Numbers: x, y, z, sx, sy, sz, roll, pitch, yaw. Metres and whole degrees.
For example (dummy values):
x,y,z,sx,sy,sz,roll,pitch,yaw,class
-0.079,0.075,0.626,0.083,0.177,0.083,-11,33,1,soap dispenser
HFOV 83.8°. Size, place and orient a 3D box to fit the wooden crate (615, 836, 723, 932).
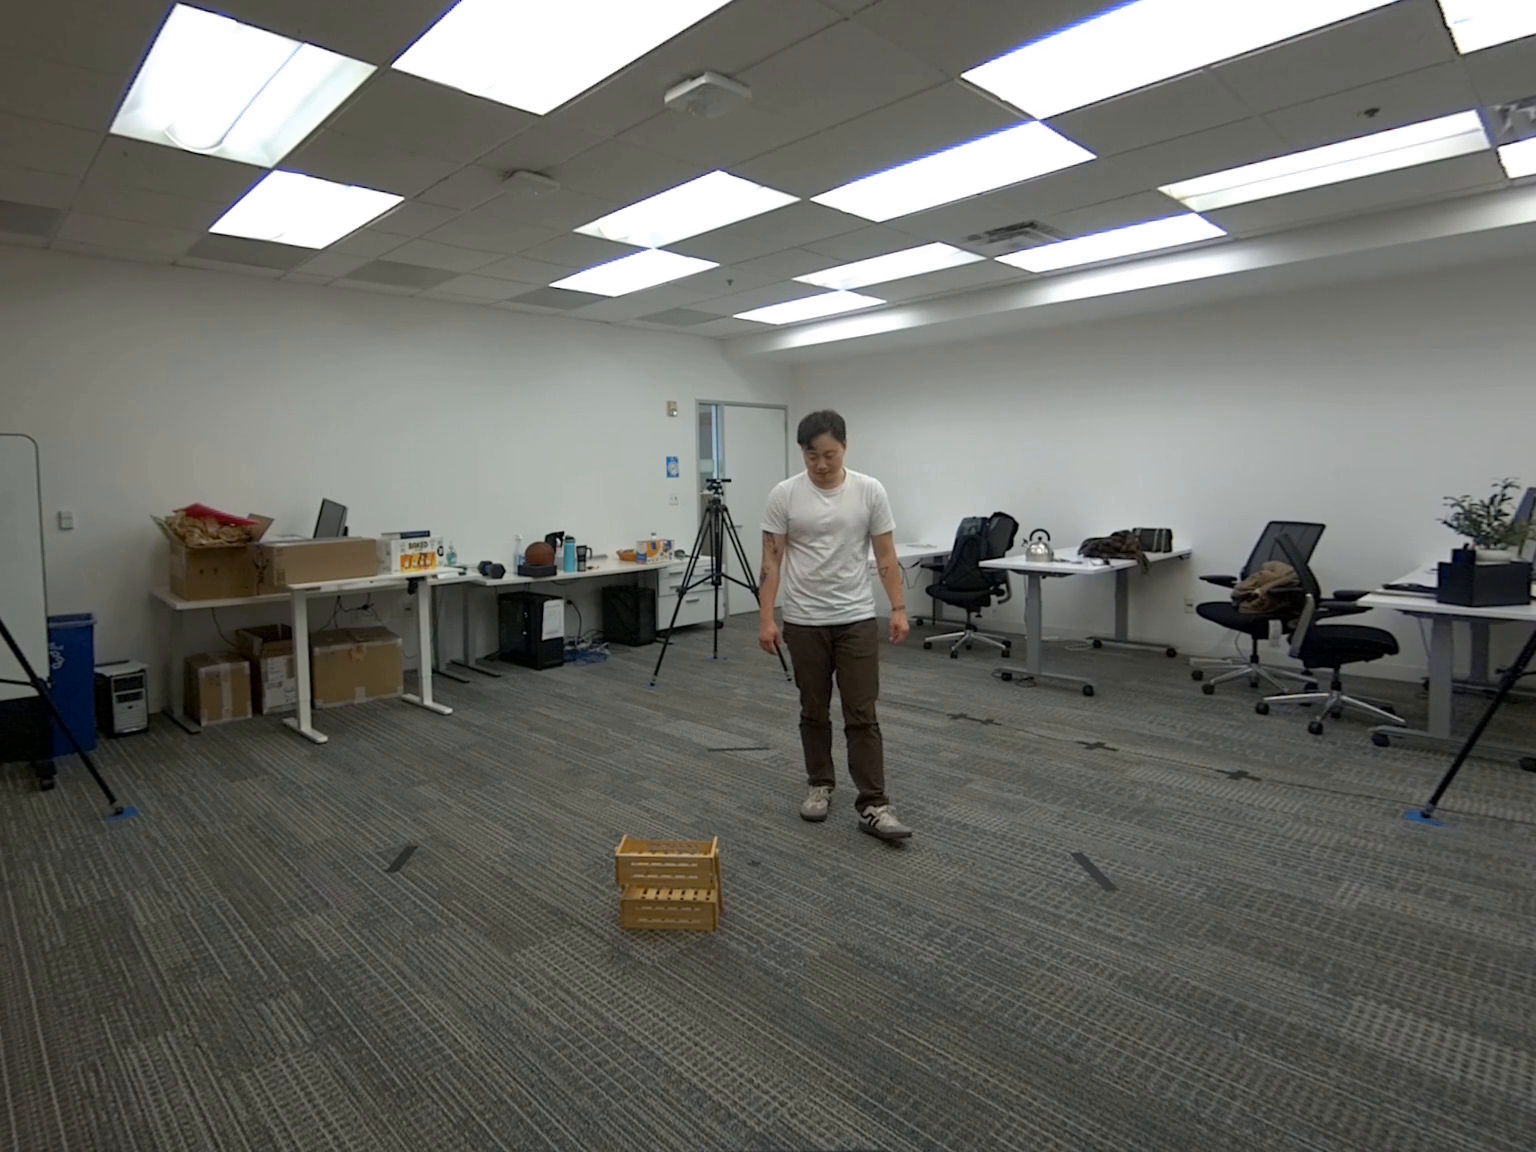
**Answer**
x,y,z,sx,sy,sz,roll,pitch,yaw,class
-0.307,0.956,2.750,0.326,0.272,0.302,-1,6,3,wooden crate
